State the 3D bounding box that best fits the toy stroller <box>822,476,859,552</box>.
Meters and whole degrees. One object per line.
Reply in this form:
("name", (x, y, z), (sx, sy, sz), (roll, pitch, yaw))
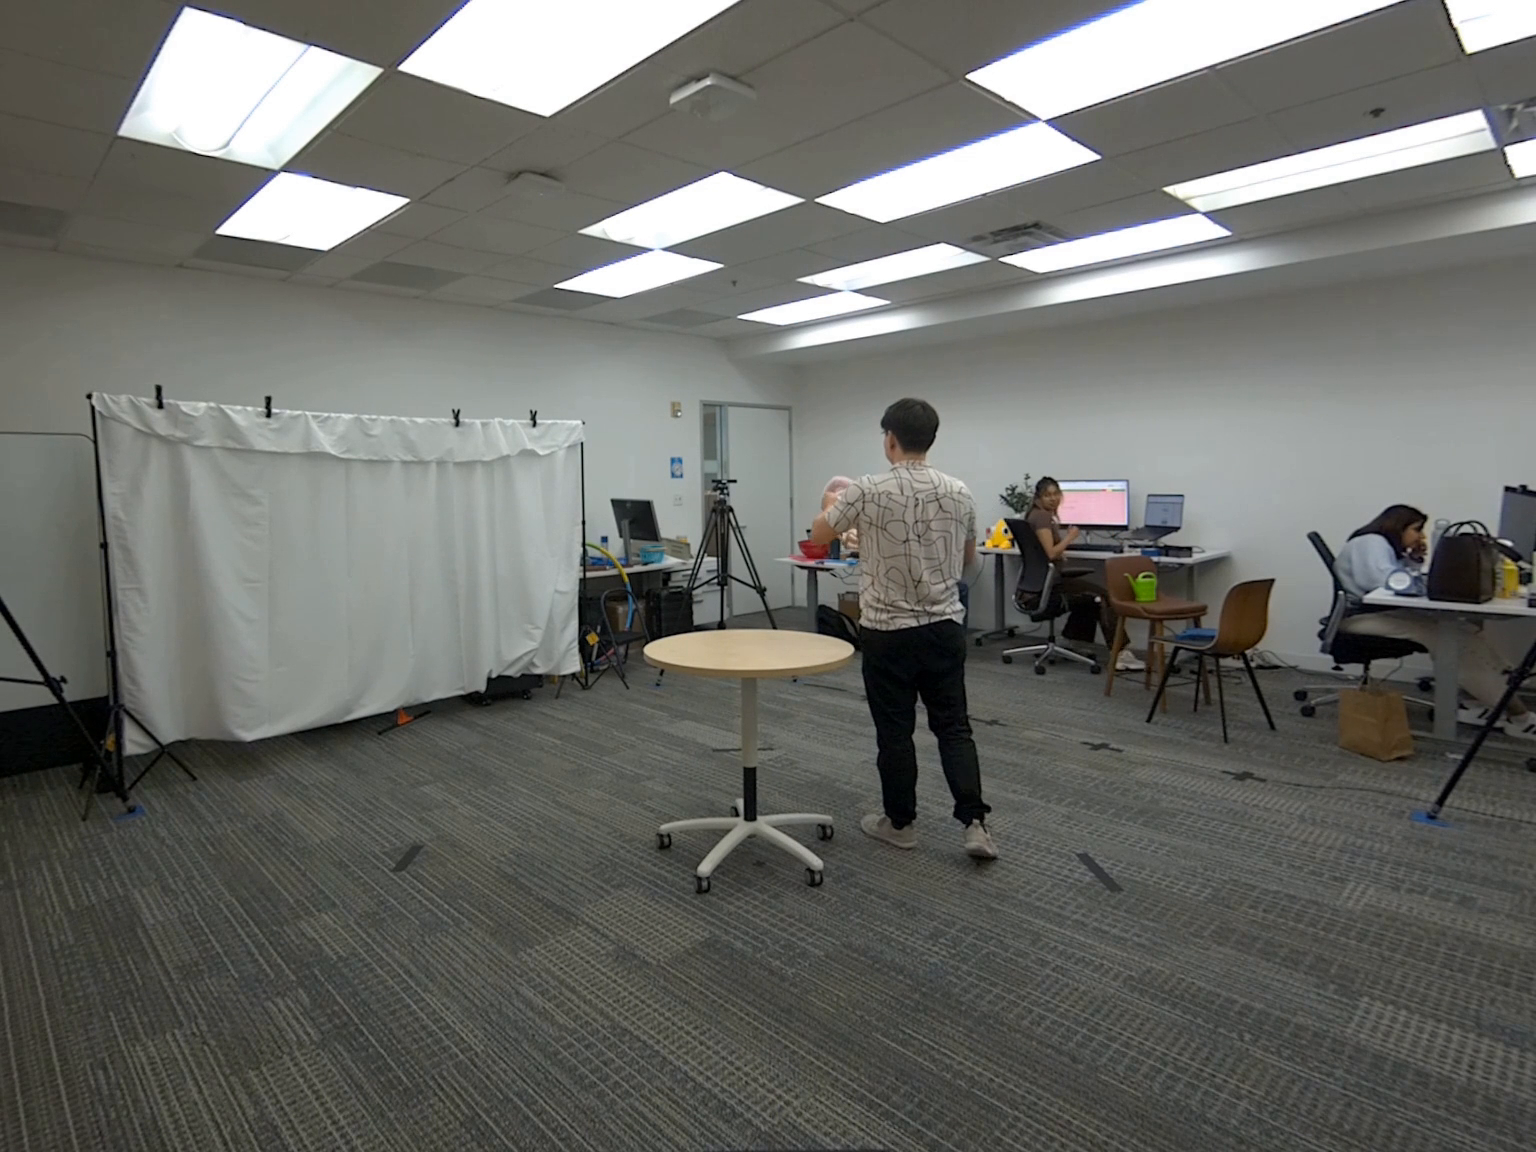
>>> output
("toy stroller", (0.384, -0.251, 3.614), (0.333, 0.277, 0.555), (3, 29, -26))
